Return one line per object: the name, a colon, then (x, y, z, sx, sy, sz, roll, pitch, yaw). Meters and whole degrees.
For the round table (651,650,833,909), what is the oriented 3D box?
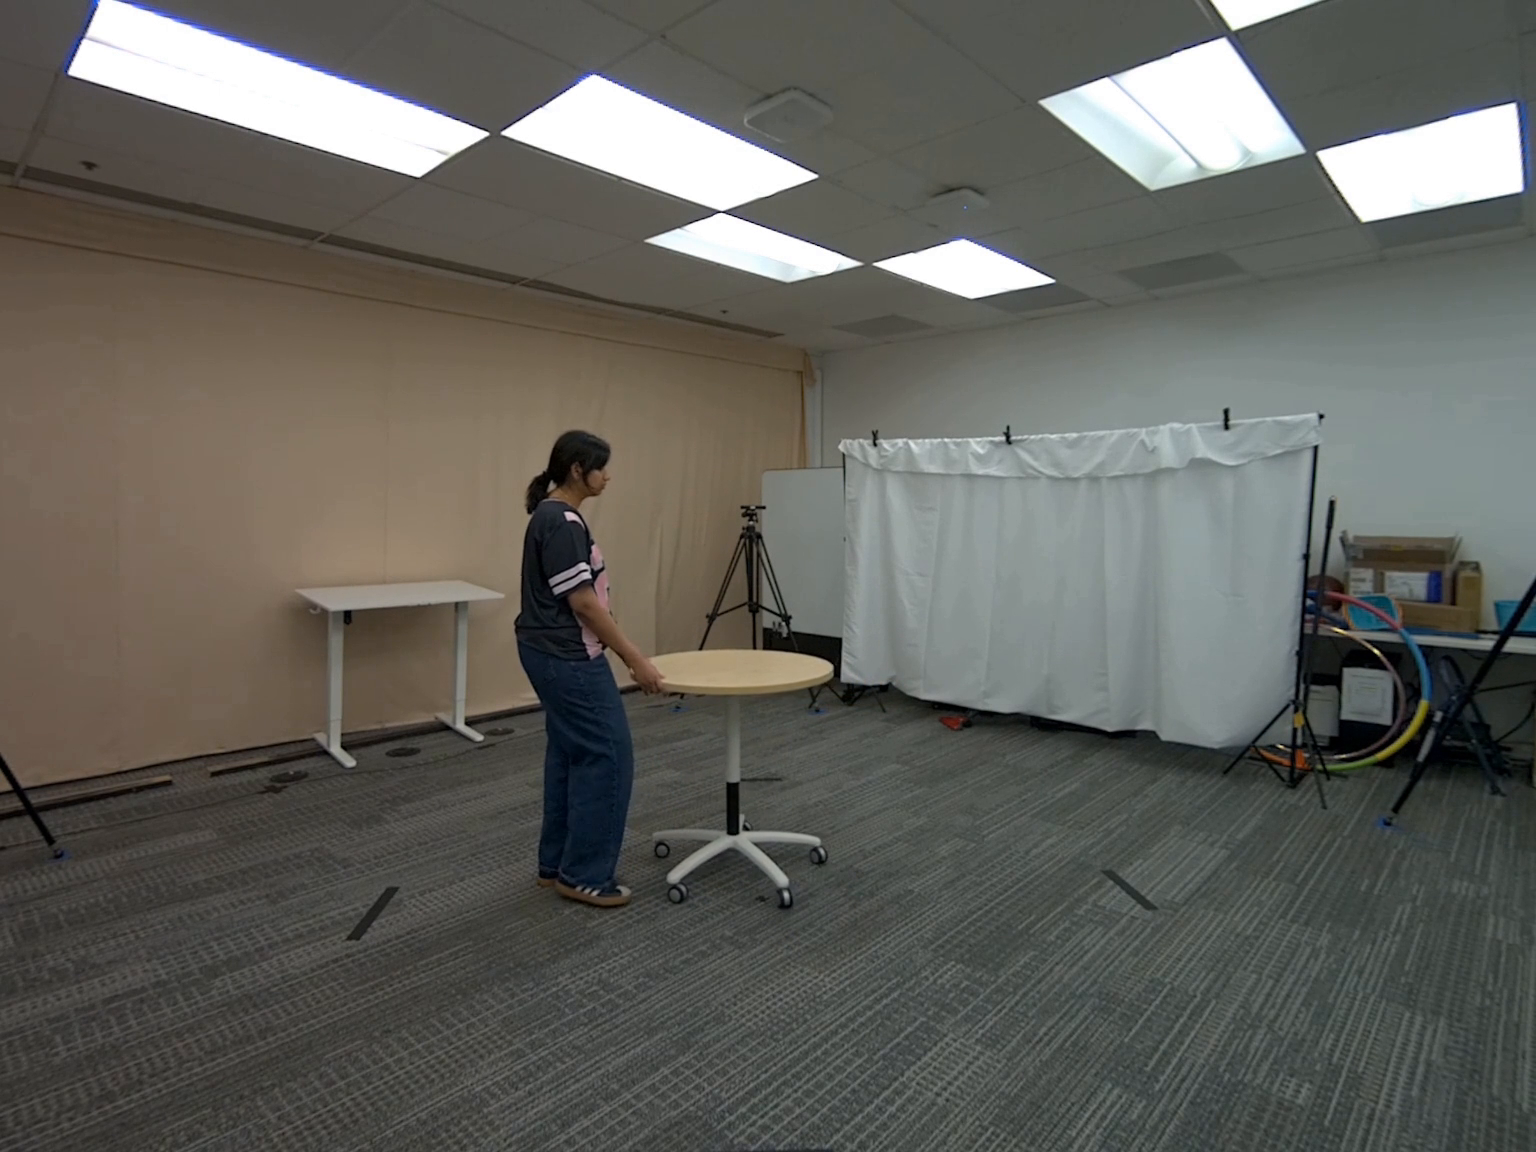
round table: (-0.128, 0.740, 3.195, 0.763, 0.792, 0.766, -1, 3, -2)
